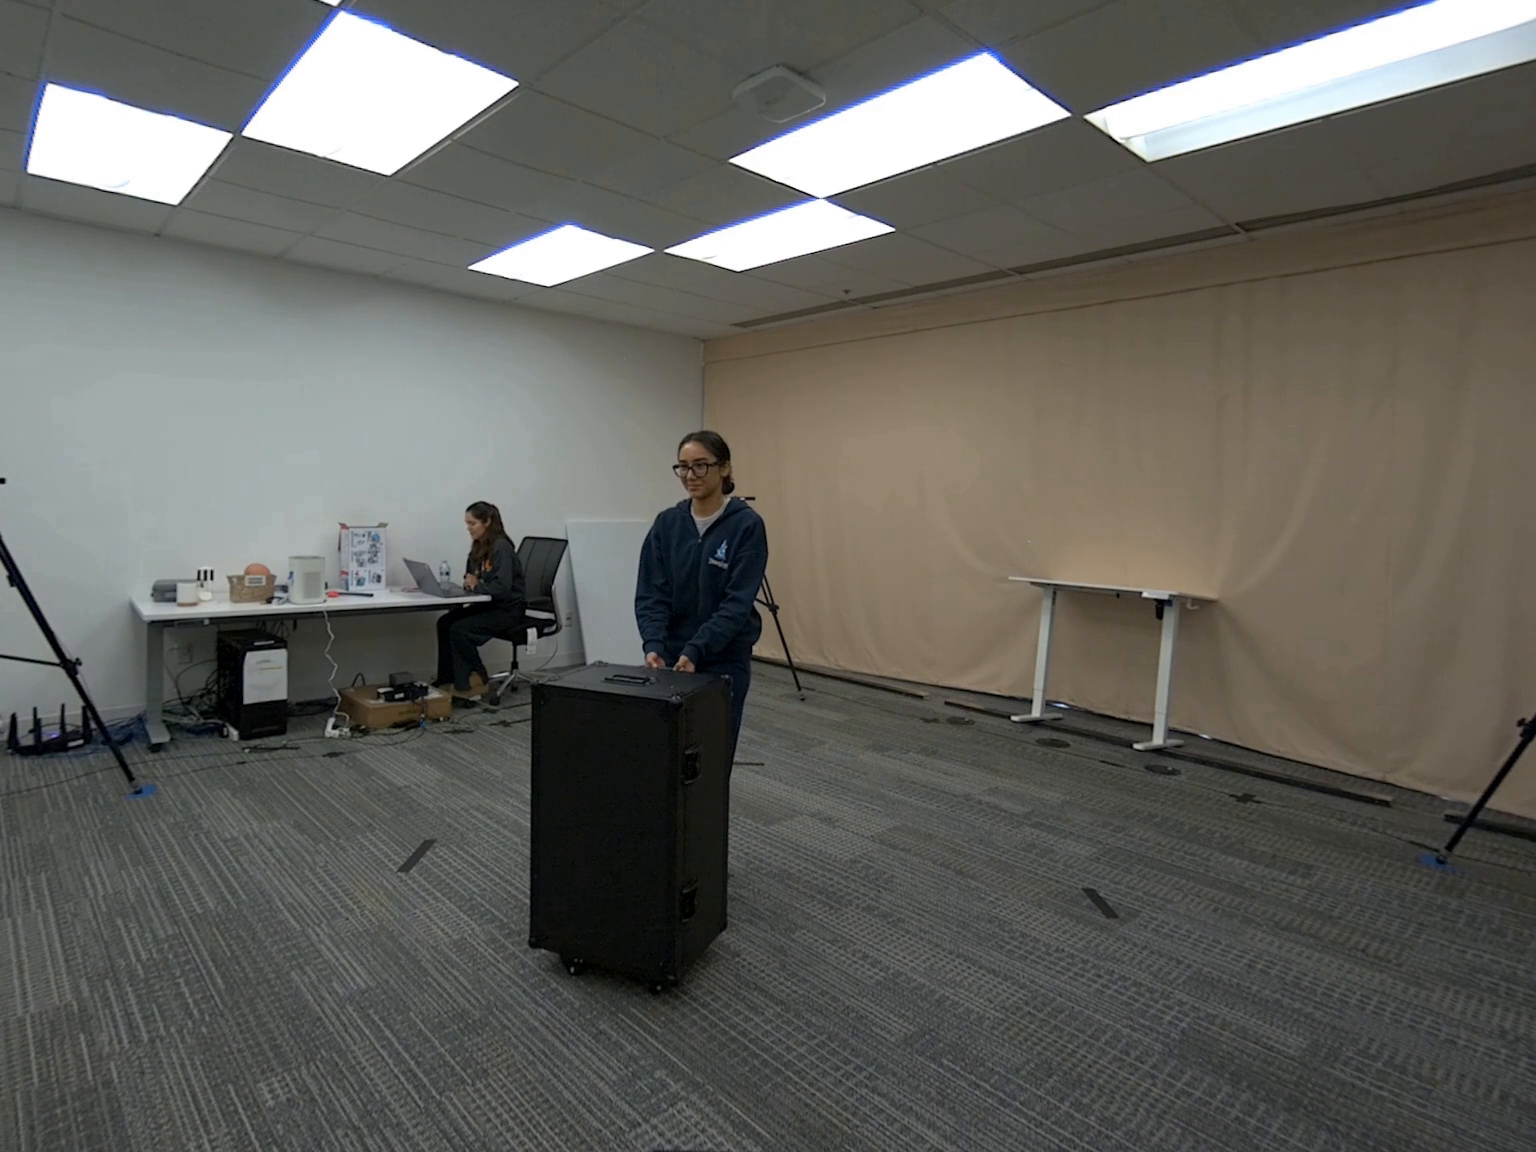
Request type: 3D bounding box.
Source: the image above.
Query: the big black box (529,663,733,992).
[{"bbox_3d":[-0.411,0.732,2.514,0.530,0.861,0.390,2,1,21],"label":"big black box"}]
